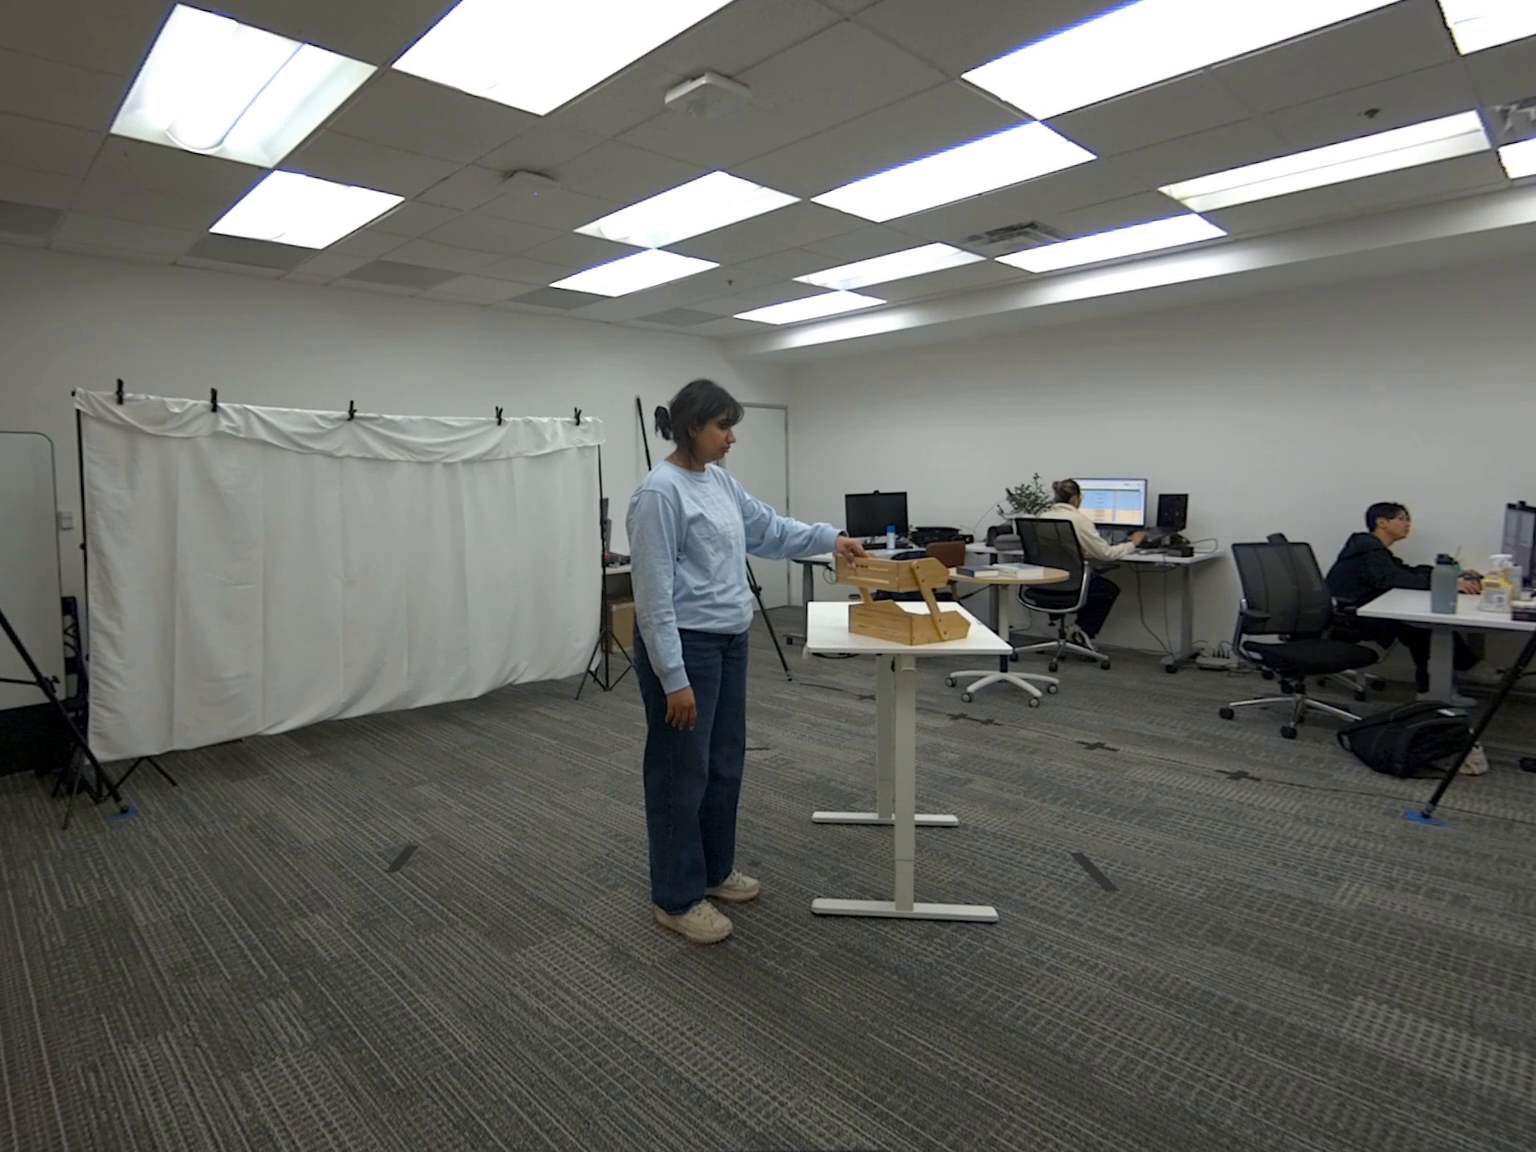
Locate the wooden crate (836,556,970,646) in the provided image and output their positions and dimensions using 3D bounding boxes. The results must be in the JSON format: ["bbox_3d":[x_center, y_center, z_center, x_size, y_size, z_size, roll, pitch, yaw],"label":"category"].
[{"bbox_3d":[0.431,0.059,2.745,0.295,0.272,0.334,-6,7,-33],"label":"wooden crate"}]
